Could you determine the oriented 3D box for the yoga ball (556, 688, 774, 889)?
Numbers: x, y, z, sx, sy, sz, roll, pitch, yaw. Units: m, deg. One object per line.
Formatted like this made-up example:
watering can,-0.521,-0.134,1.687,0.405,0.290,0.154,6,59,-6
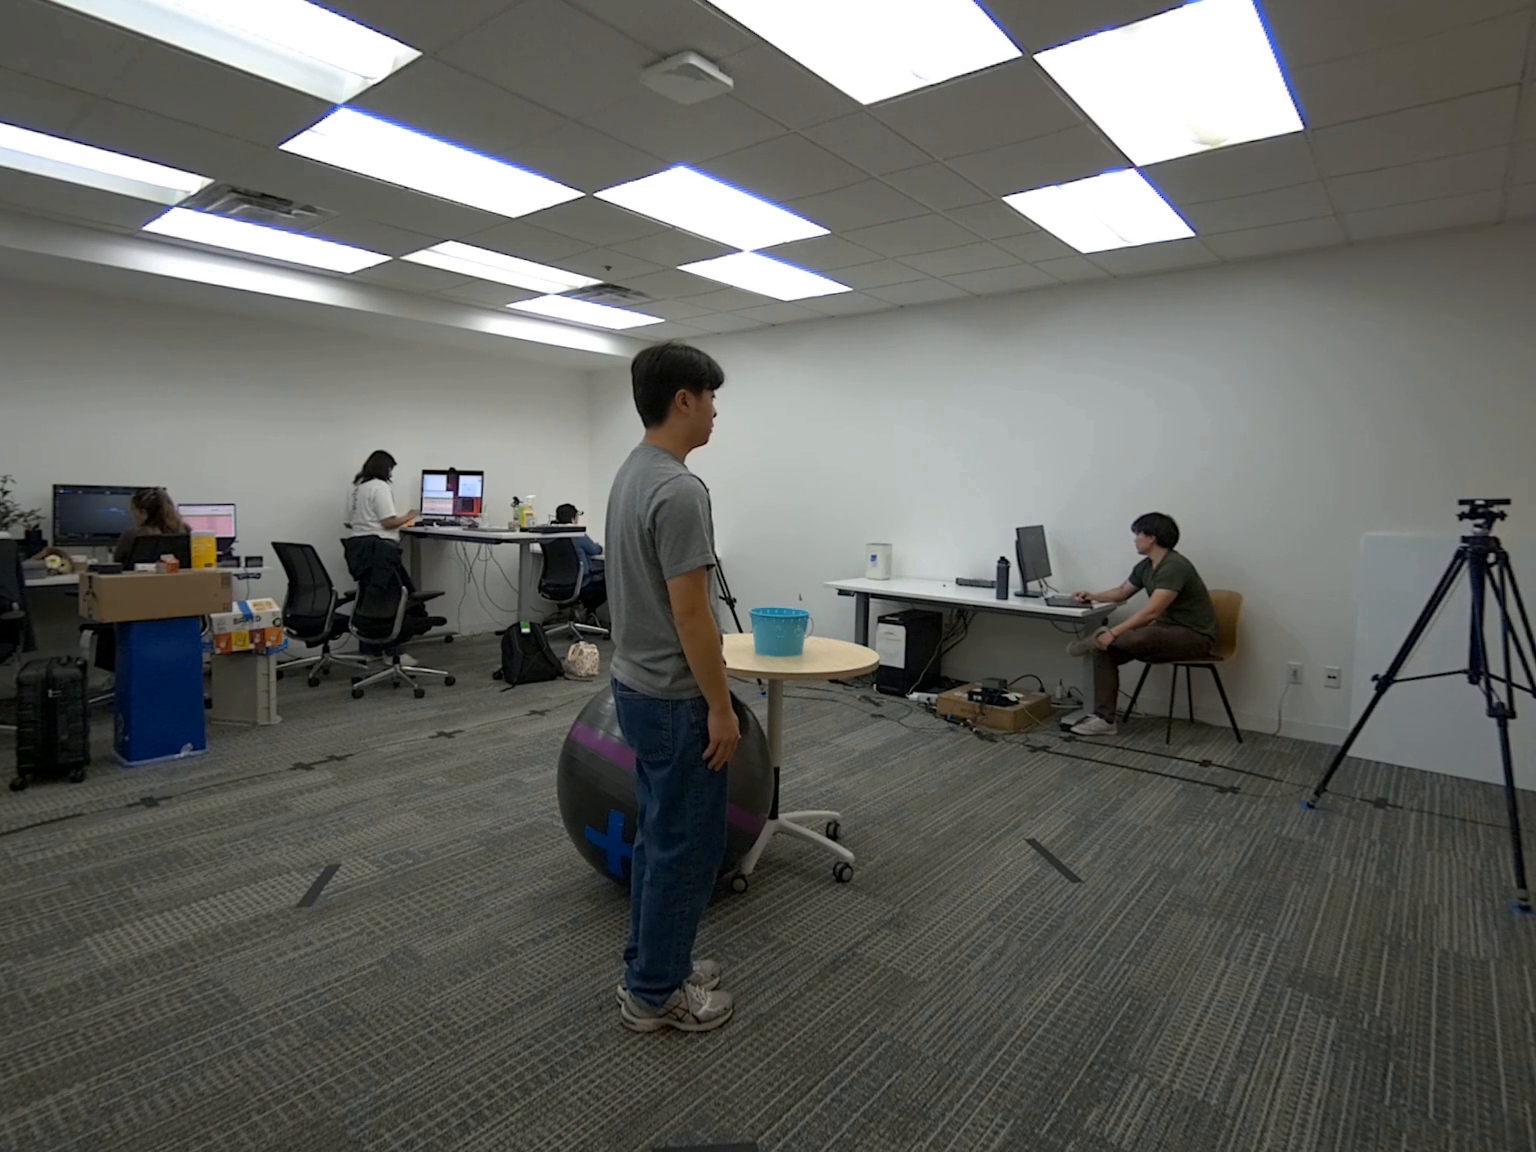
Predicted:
yoga ball,-0.383,0.713,2.982,0.757,0.755,0.762,1,4,-2
